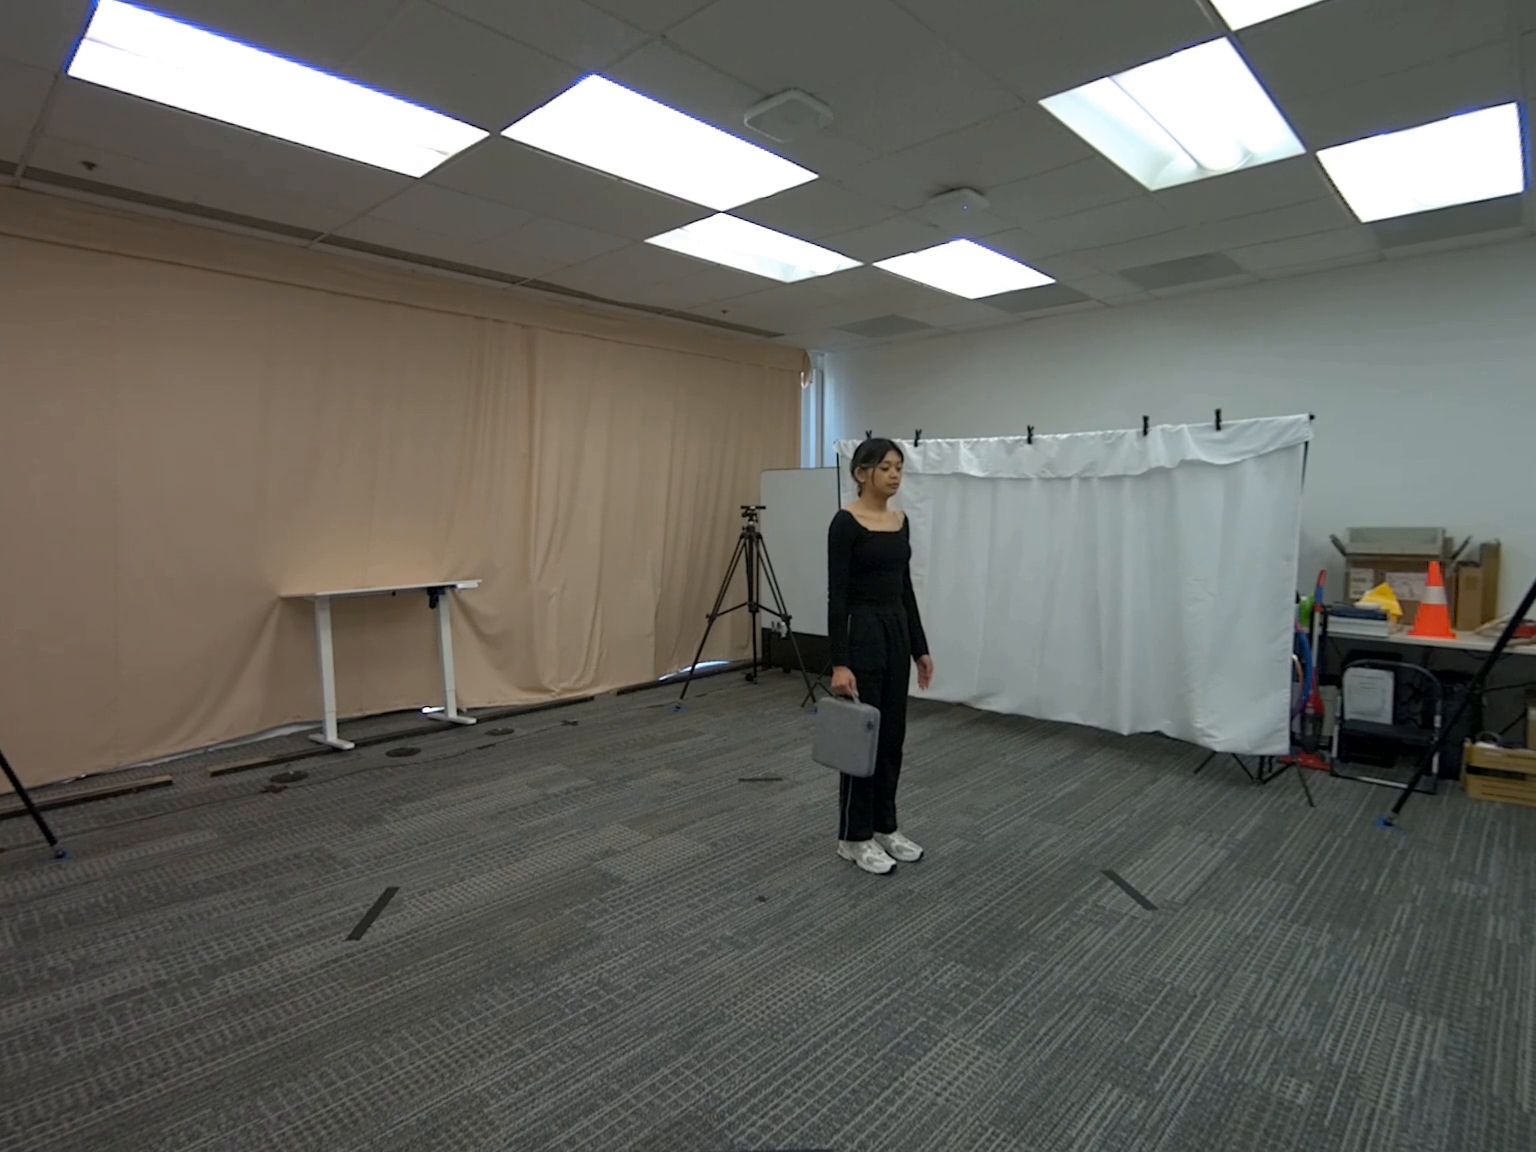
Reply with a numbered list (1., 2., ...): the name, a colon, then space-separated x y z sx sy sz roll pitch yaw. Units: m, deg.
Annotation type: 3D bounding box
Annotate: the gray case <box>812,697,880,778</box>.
1. gray case: 0.293 0.584 3.101 0.101 0.261 0.265 5 -1 -36
